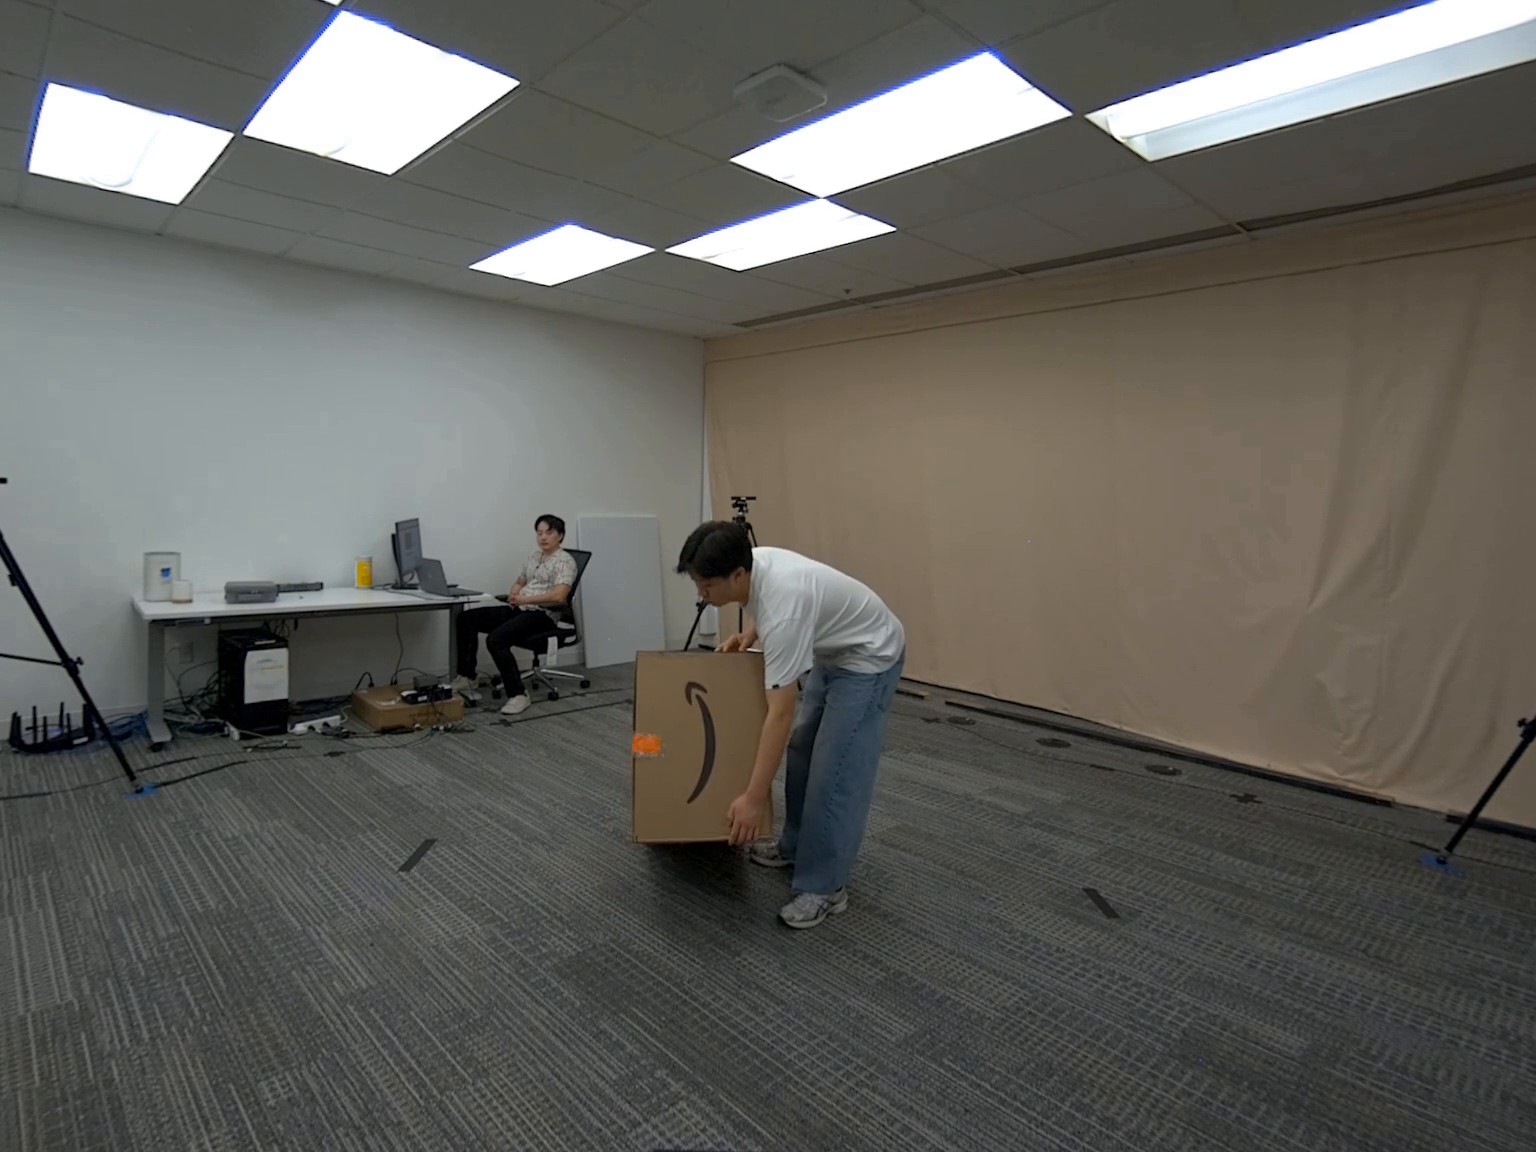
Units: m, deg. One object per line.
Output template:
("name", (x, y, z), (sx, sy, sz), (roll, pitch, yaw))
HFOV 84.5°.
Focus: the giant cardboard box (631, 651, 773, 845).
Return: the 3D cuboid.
("giant cardboard box", (-0.277, 0.663, 3.080), (0.424, 0.585, 1.017), (2, -17, -7))
